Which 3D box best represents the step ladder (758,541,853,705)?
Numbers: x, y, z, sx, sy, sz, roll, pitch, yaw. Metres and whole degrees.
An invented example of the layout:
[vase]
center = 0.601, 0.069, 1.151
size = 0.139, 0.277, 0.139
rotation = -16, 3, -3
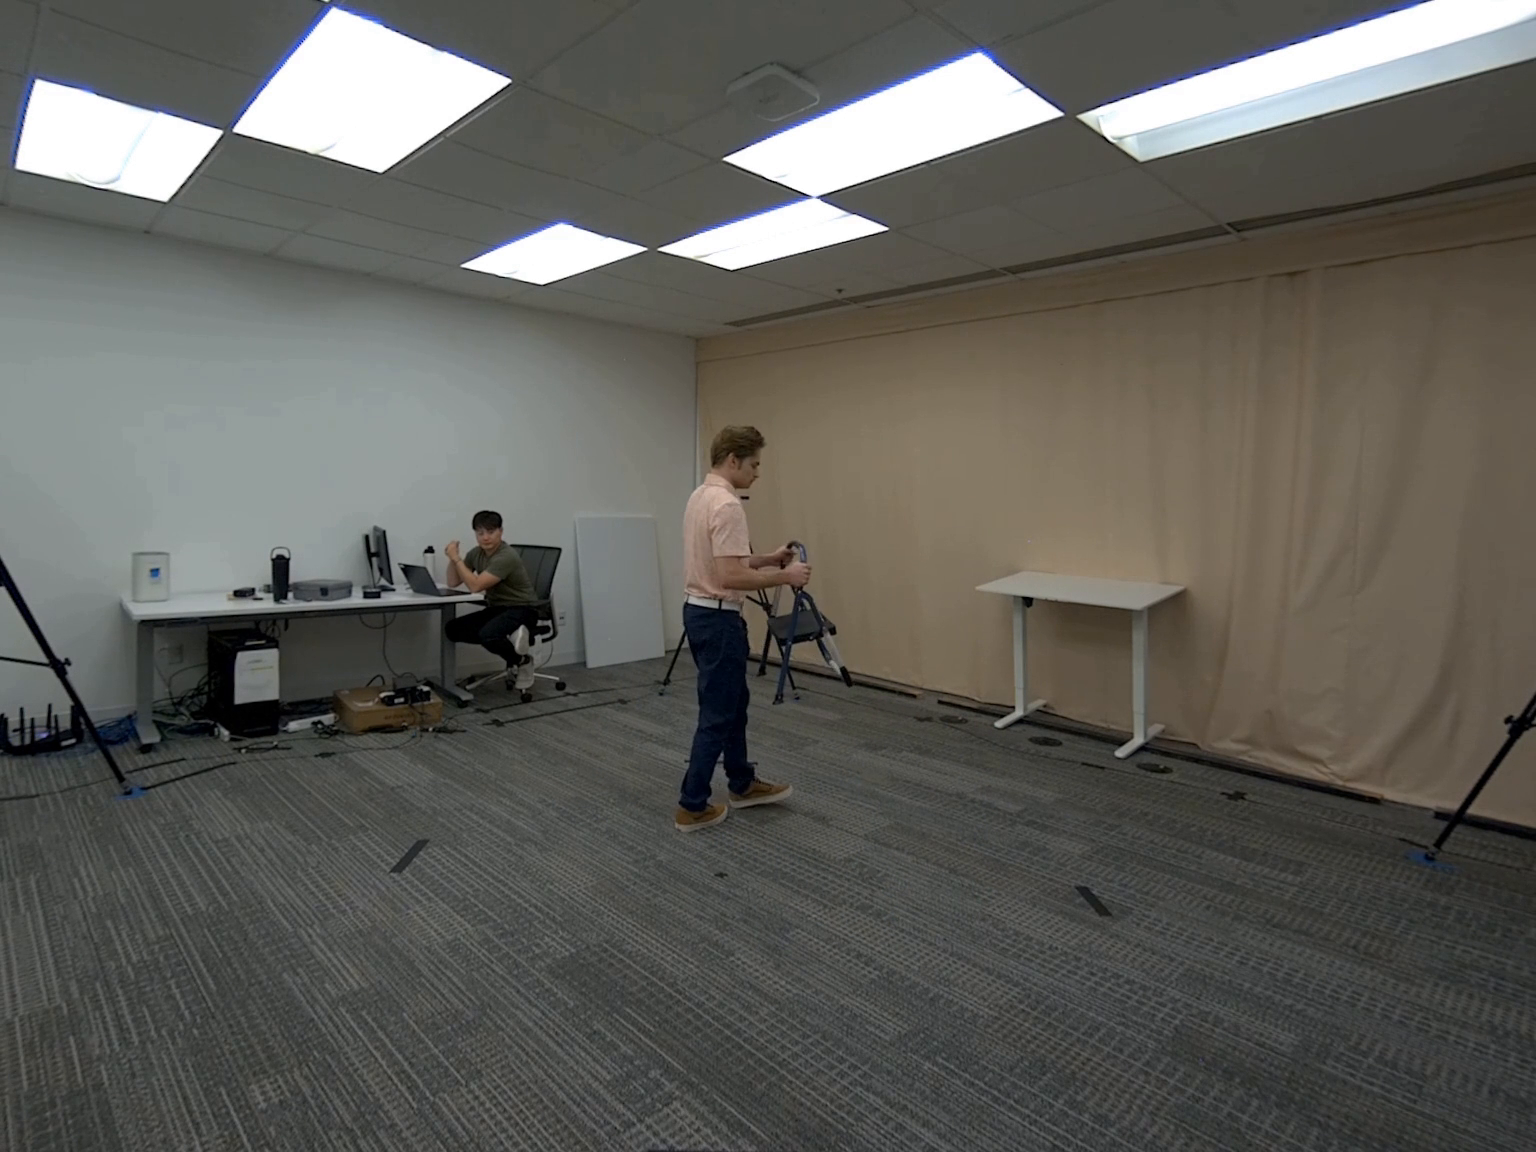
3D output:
[step ladder]
center = 0.082, 0.167, 3.641
size = 0.347, 0.601, 0.437
rotation = -10, 11, -9
